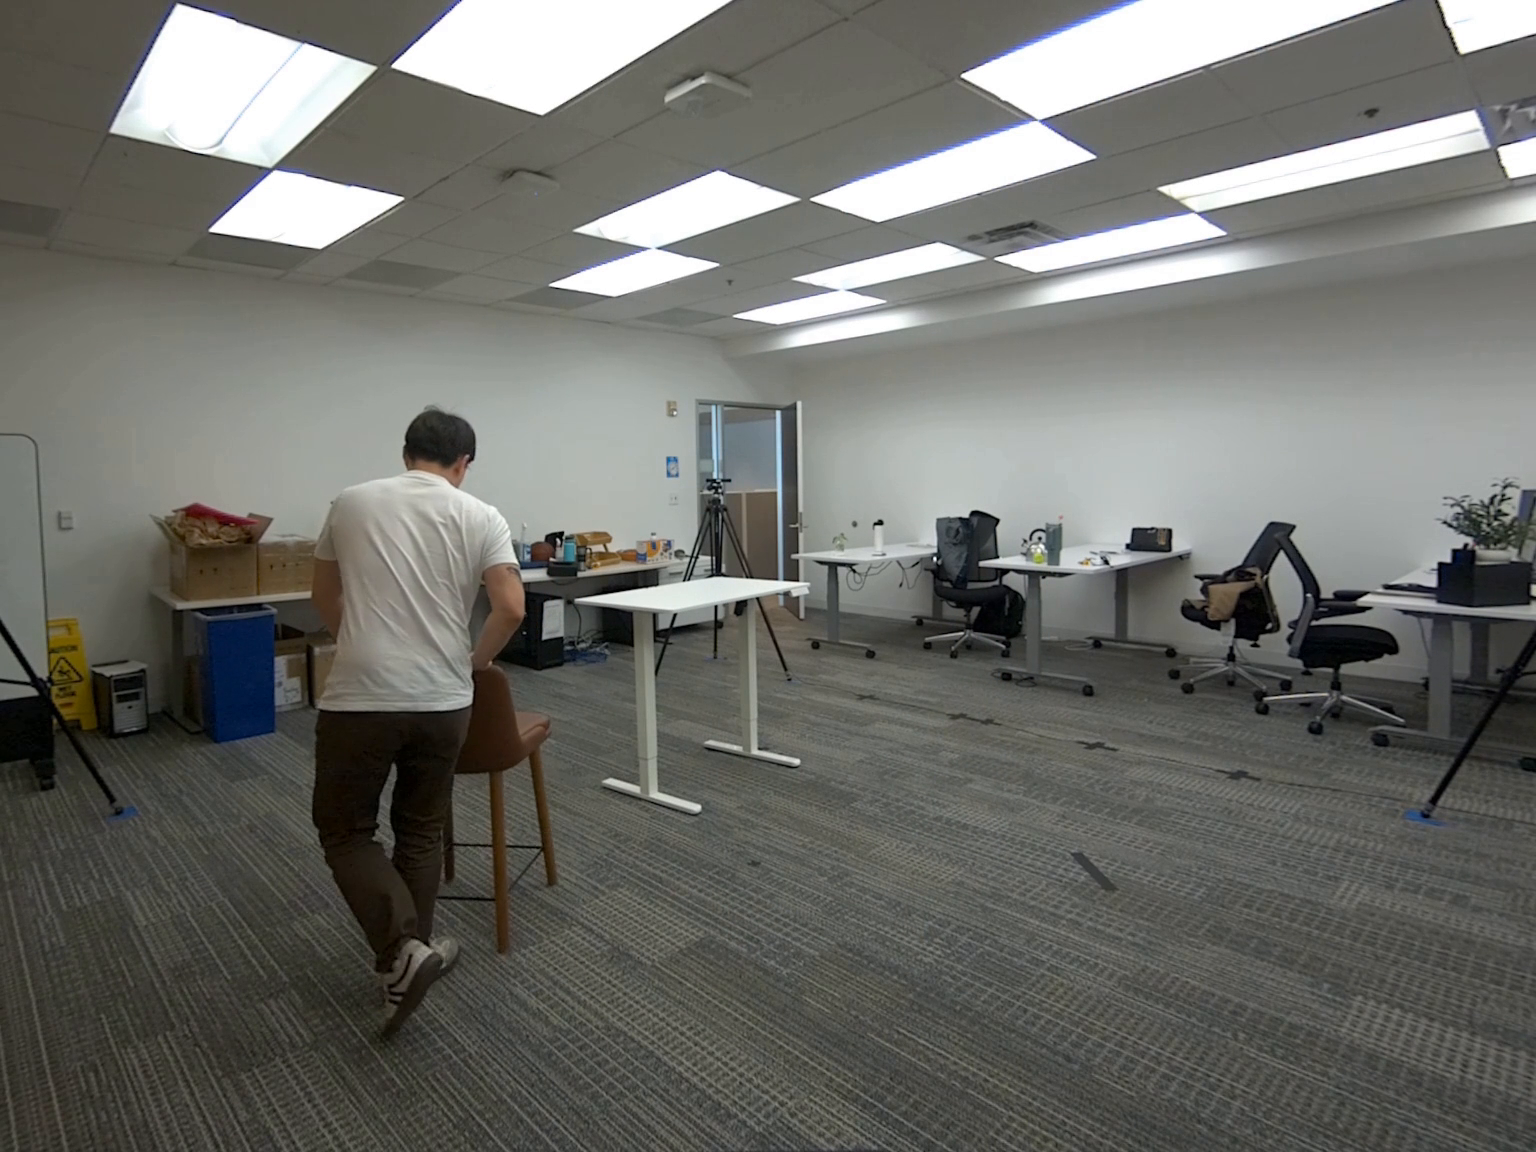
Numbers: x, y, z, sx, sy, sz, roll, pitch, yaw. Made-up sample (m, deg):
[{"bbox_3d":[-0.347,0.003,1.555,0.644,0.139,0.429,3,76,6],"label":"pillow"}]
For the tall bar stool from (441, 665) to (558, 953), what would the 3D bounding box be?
[{"bbox_3d":[-0.963,0.672,2.747,0.459,0.884,0.468,-1,7,6],"label":"tall bar stool"}]
